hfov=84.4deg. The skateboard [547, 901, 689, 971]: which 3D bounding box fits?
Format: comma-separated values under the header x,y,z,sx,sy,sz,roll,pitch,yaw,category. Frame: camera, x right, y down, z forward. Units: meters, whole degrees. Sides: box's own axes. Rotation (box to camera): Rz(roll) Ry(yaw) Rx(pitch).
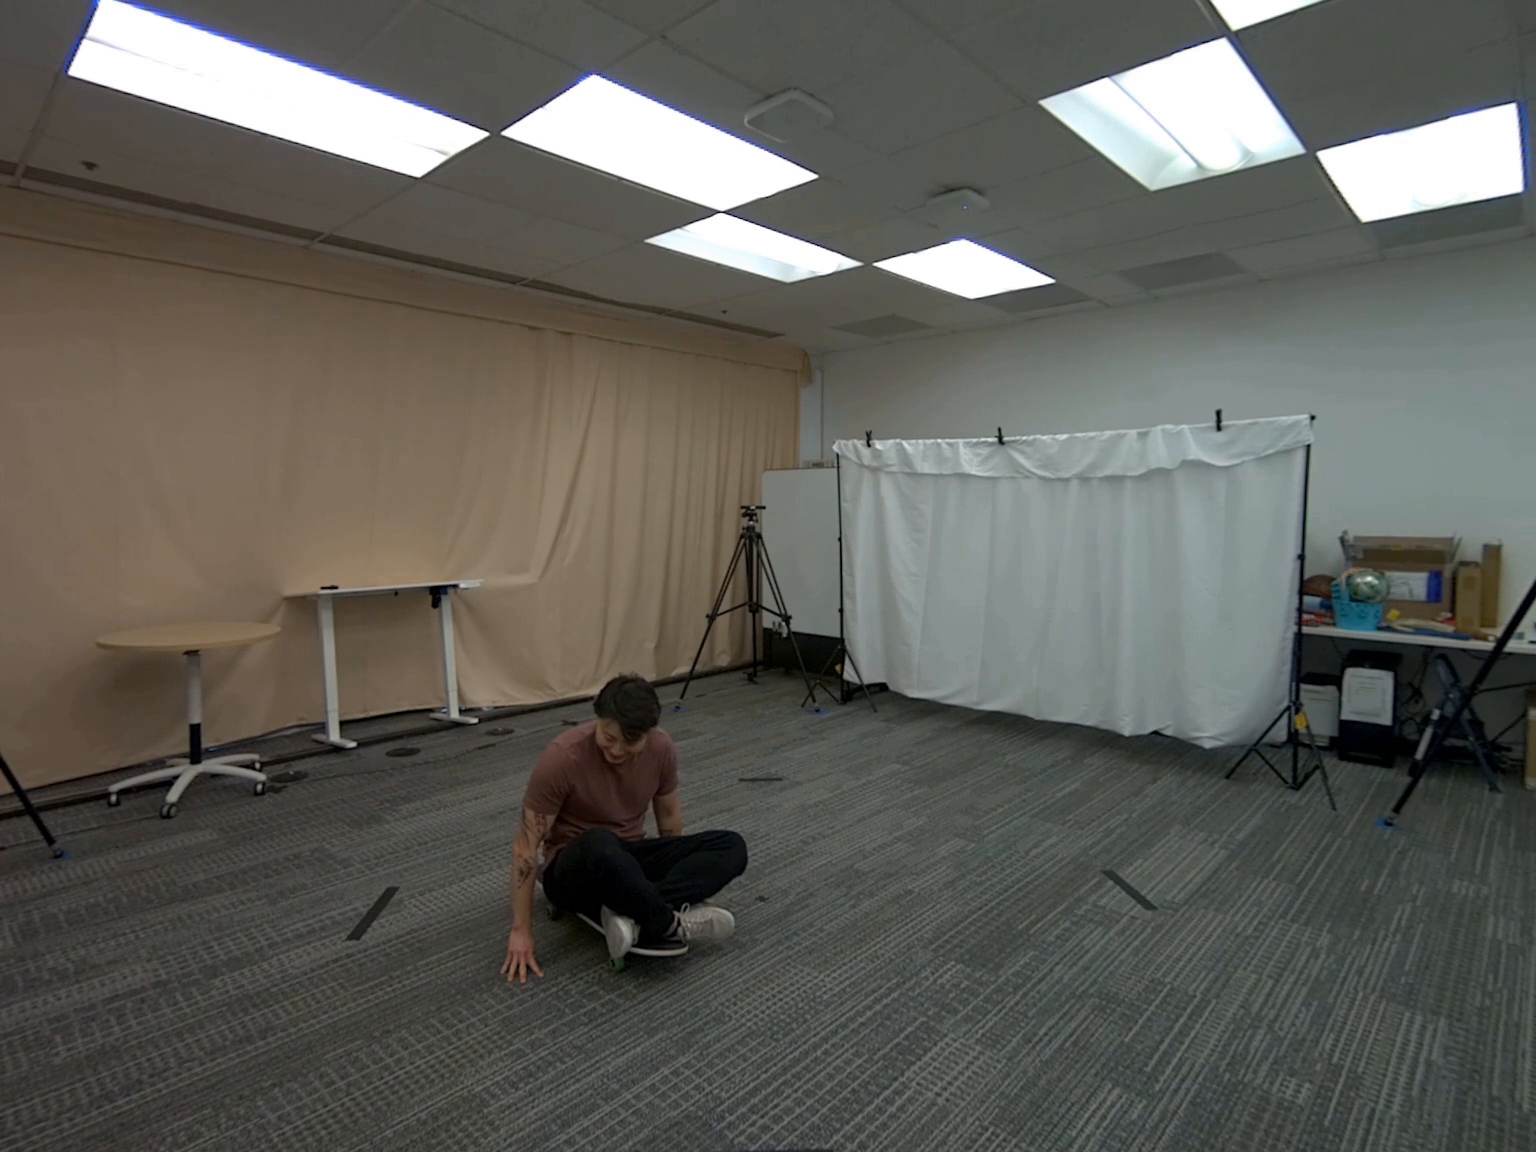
x,y,z,sx,sy,sz,roll,pitch,yaw,category
-0.546,1.116,2.723,0.187,0.110,0.810,10,-5,-37,skateboard
